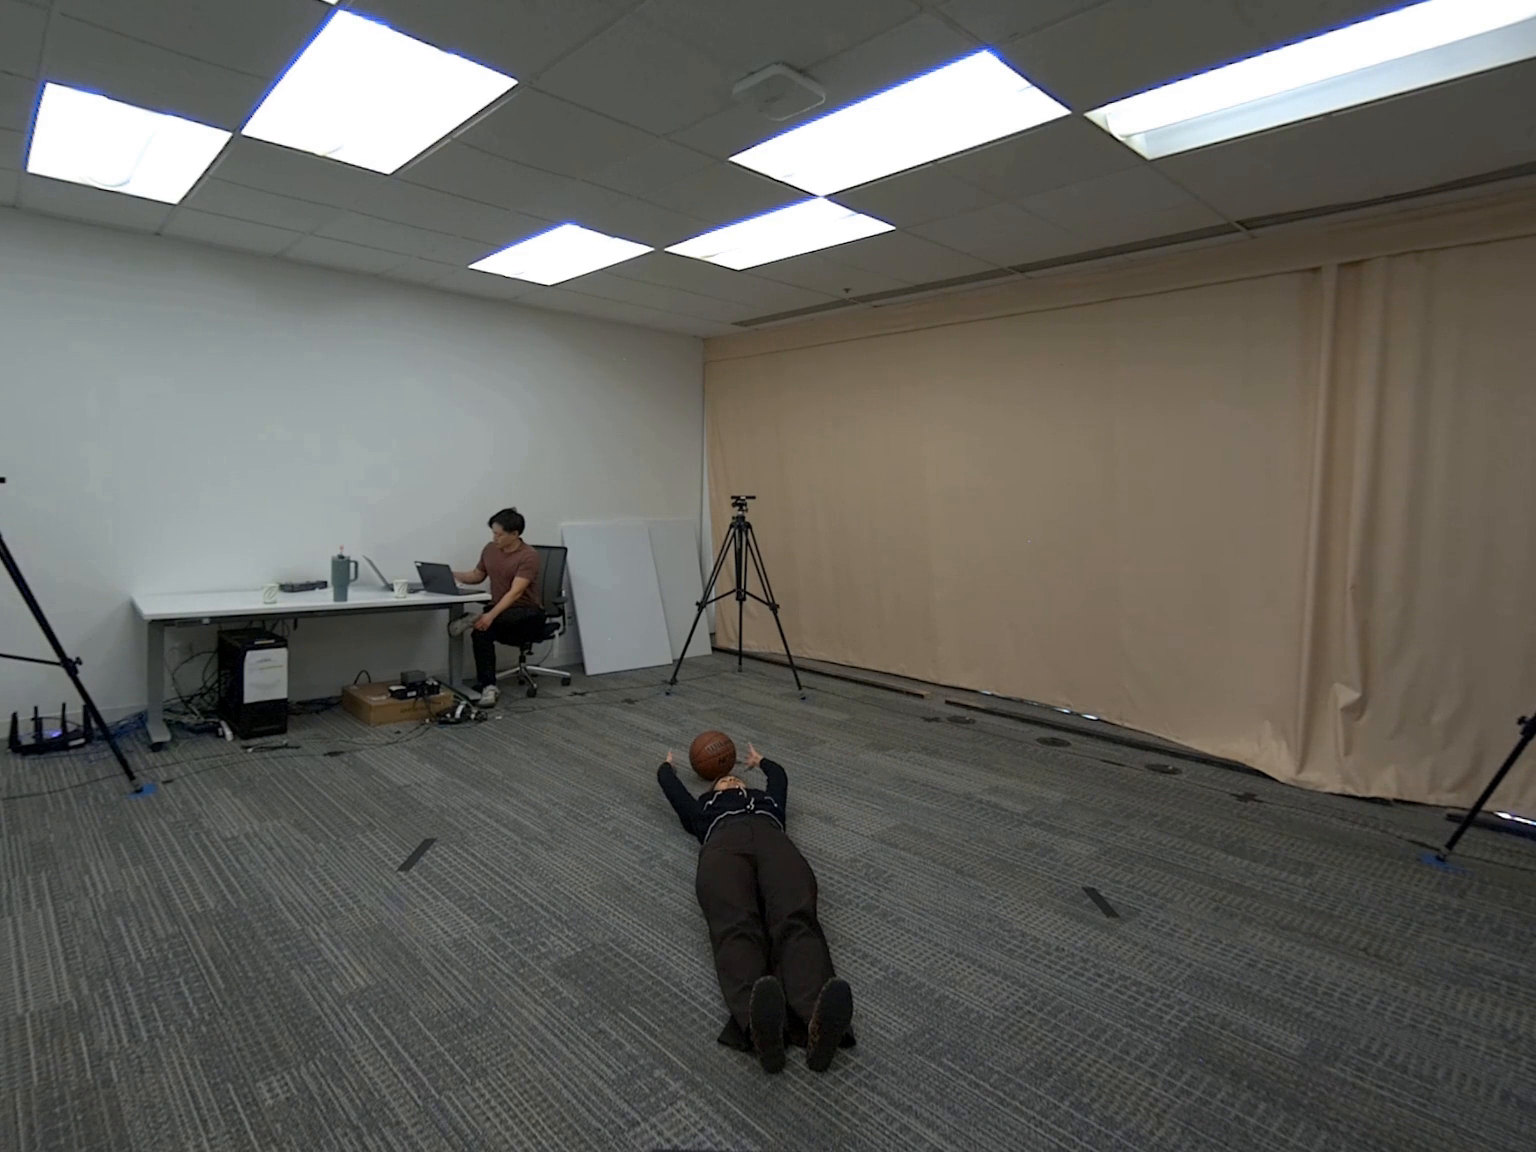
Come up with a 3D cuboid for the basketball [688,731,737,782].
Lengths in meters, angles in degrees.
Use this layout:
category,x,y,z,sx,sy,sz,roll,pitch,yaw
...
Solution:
category,x,y,z,sx,sy,sz,roll,pitch,yaw
basketball,-0.291,0.887,4.180,0.236,0.235,0.237,1,4,-1
